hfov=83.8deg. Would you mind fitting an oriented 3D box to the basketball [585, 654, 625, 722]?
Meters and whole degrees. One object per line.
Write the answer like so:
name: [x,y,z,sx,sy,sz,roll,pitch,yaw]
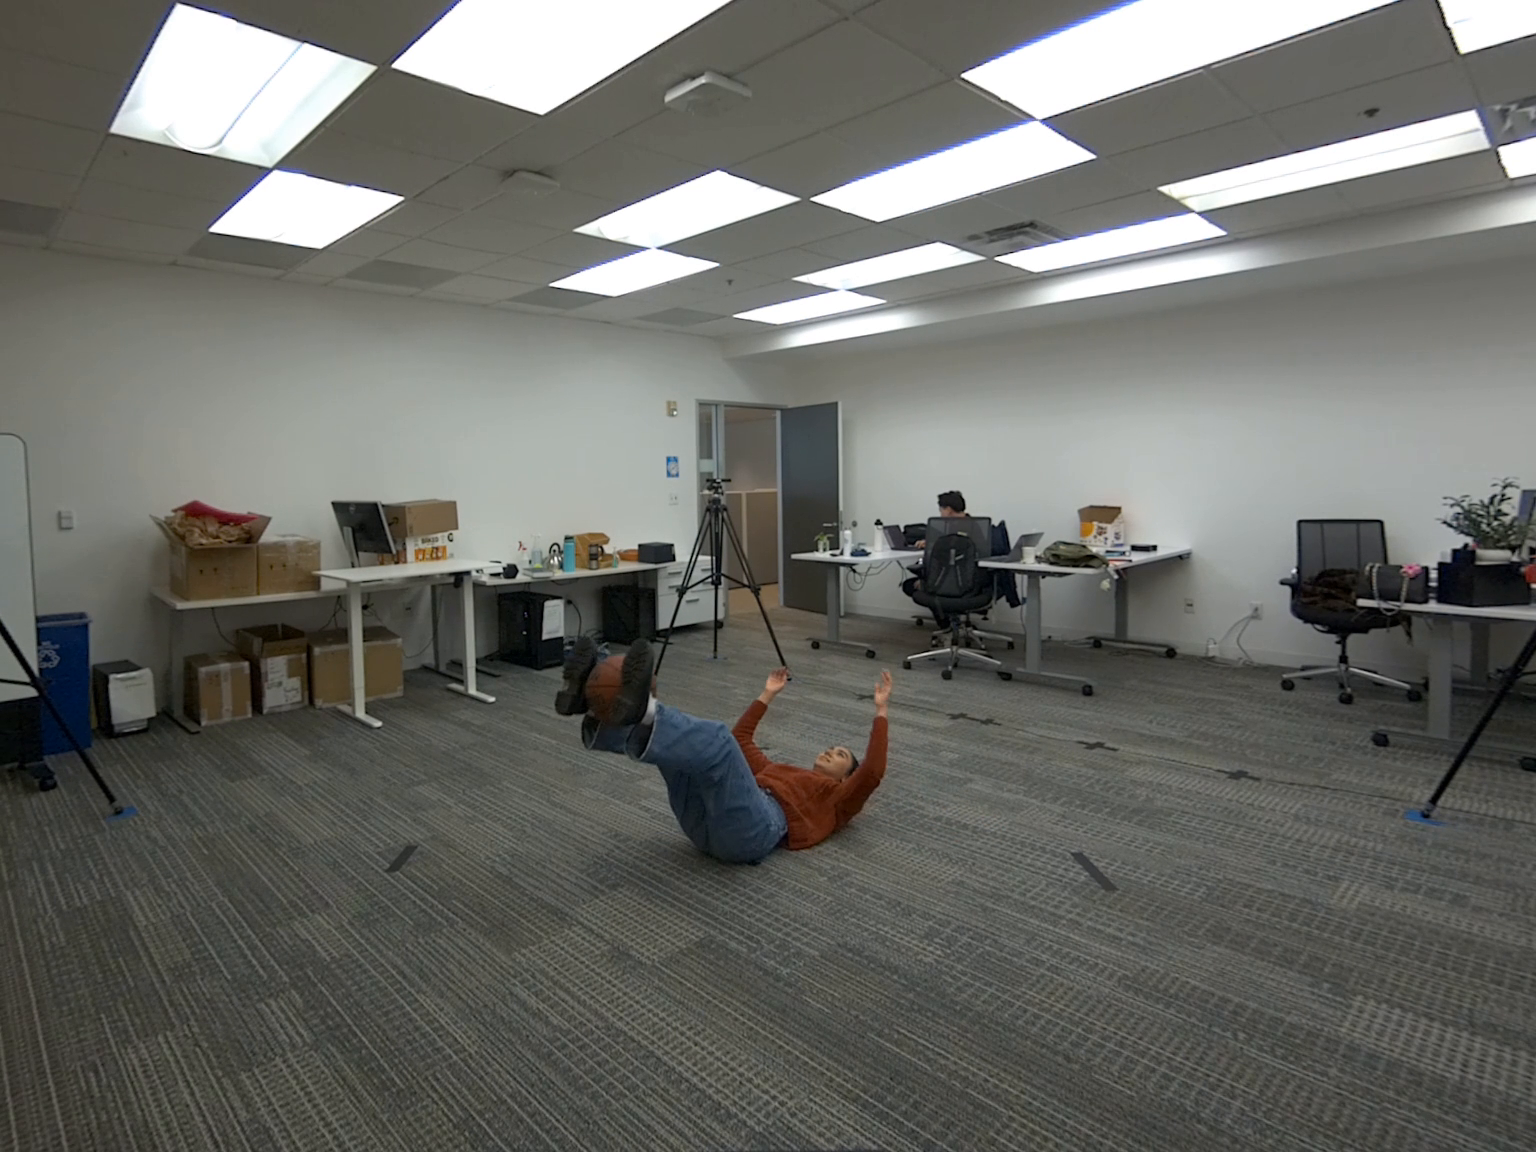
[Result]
basketball: [-0.481,0.389,2.833,0.236,0.236,0.236,0,1,-2]
